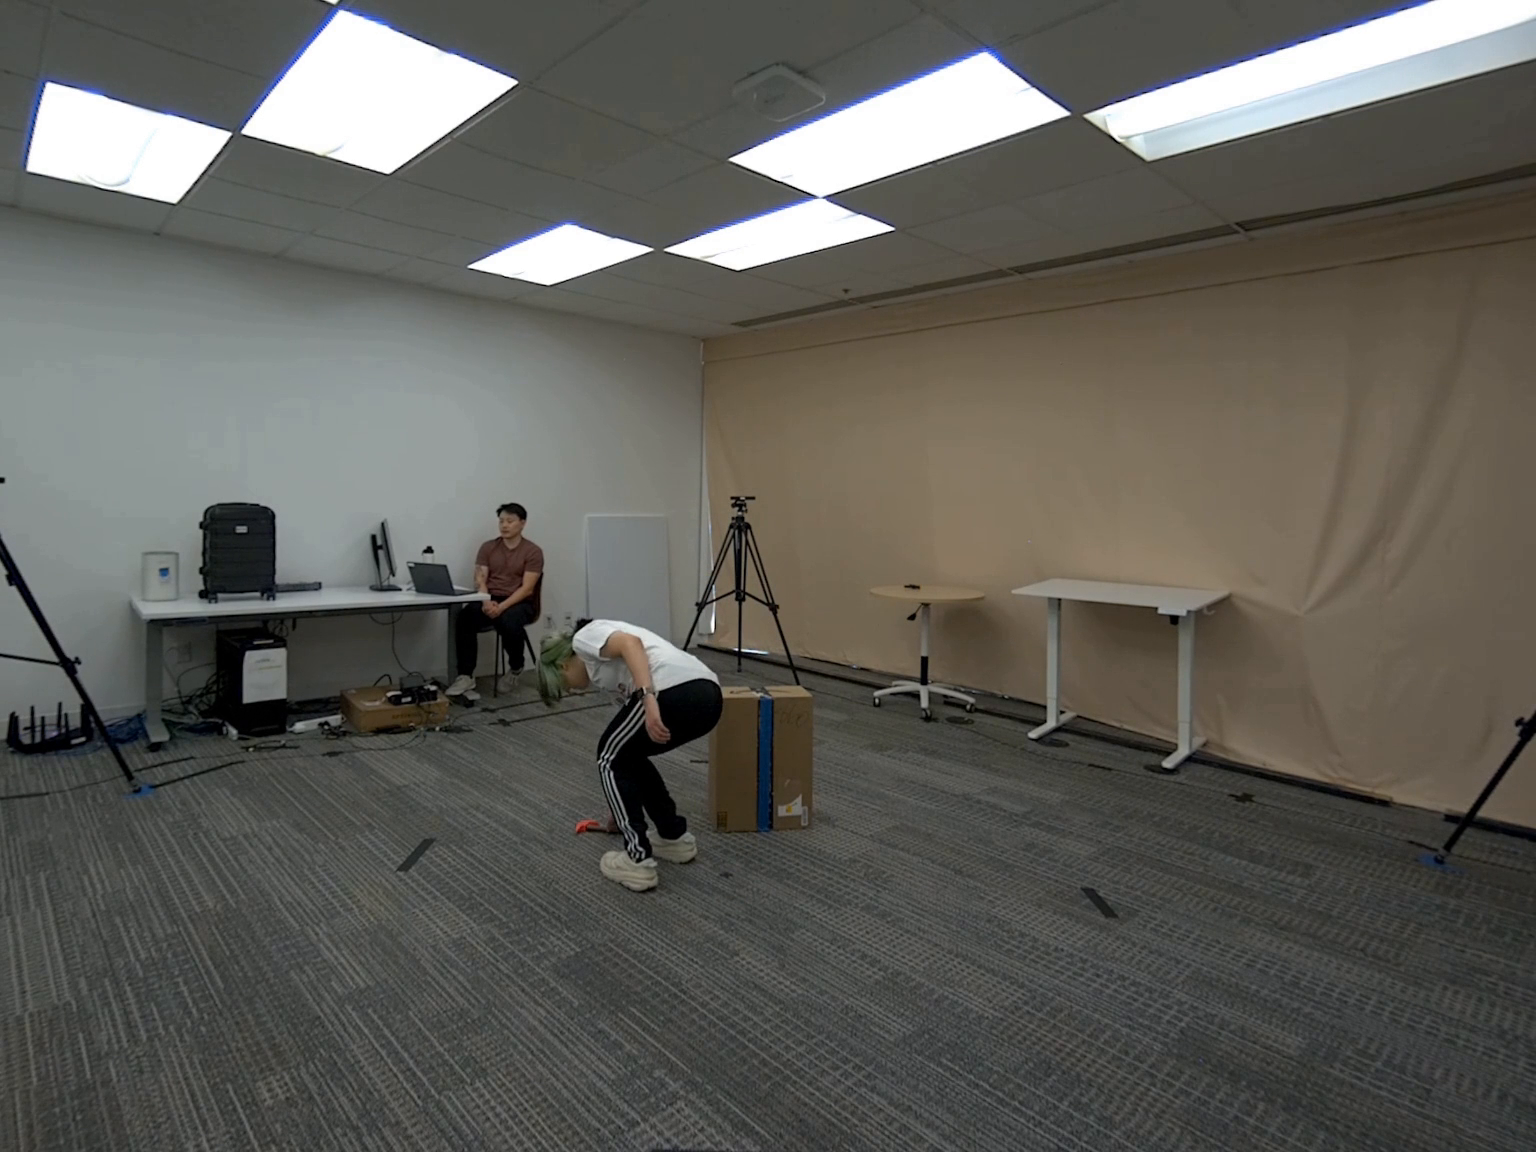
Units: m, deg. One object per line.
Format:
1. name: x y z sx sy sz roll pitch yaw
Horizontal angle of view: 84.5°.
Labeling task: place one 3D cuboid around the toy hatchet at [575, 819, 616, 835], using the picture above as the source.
1. toy hatchet: -0.675 1.045 3.510 0.269 0.029 0.131 2 1 -5
